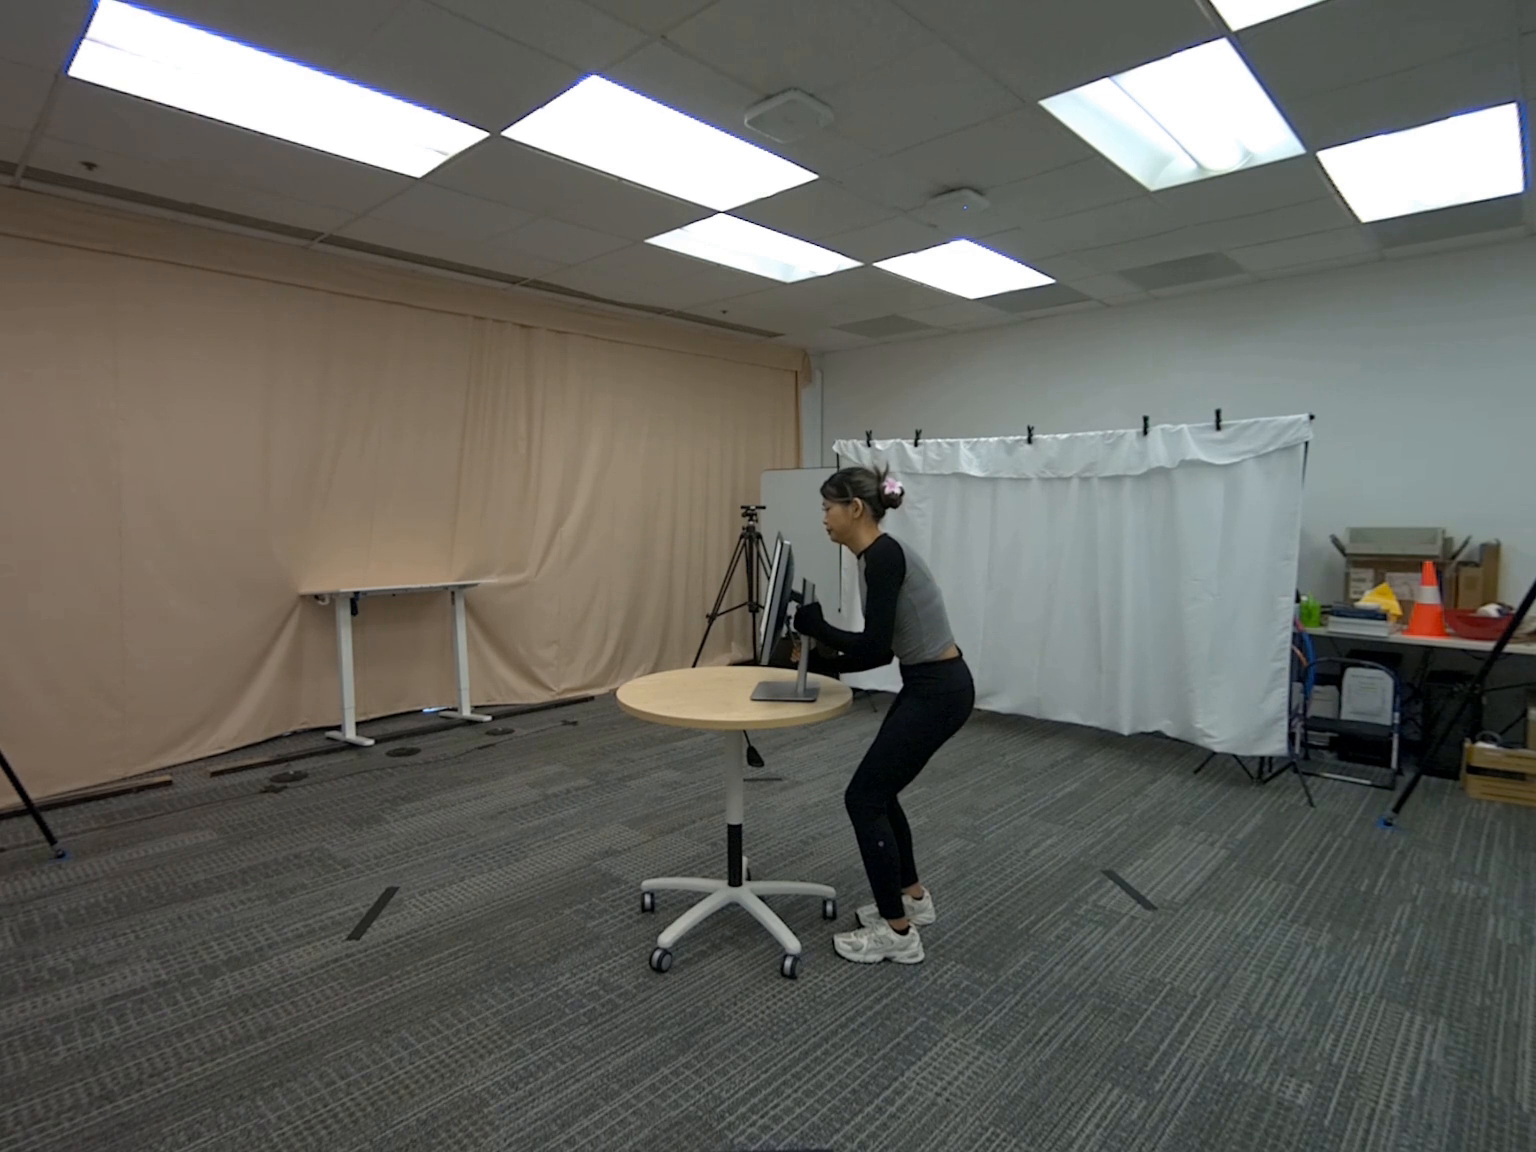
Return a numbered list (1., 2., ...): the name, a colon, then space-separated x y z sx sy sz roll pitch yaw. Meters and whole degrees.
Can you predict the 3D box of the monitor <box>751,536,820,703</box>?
1. monitor: 0.064 0.133 2.694 0.187 0.521 0.540 -1 5 -1
